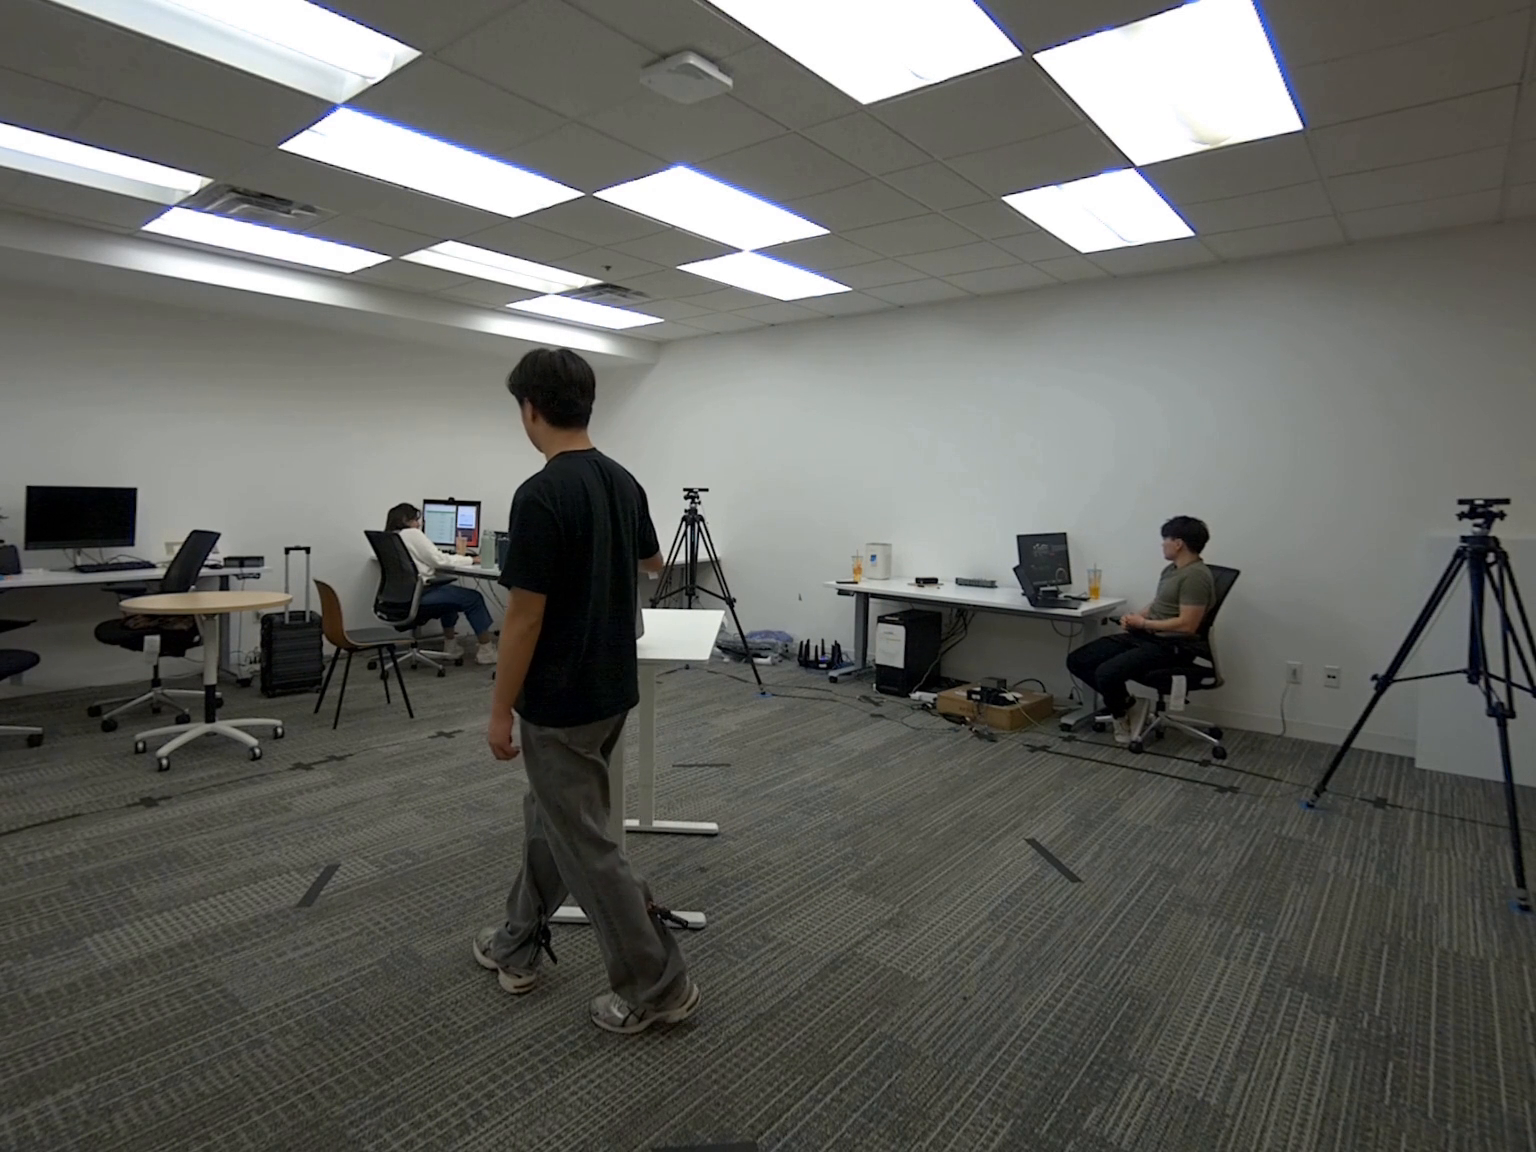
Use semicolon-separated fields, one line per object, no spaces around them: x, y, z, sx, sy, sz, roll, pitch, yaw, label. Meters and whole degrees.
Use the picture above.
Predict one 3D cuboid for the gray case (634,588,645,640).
-0.541;0.074;2.747;0.271;0.285;0.101;1;10;33;gray case
